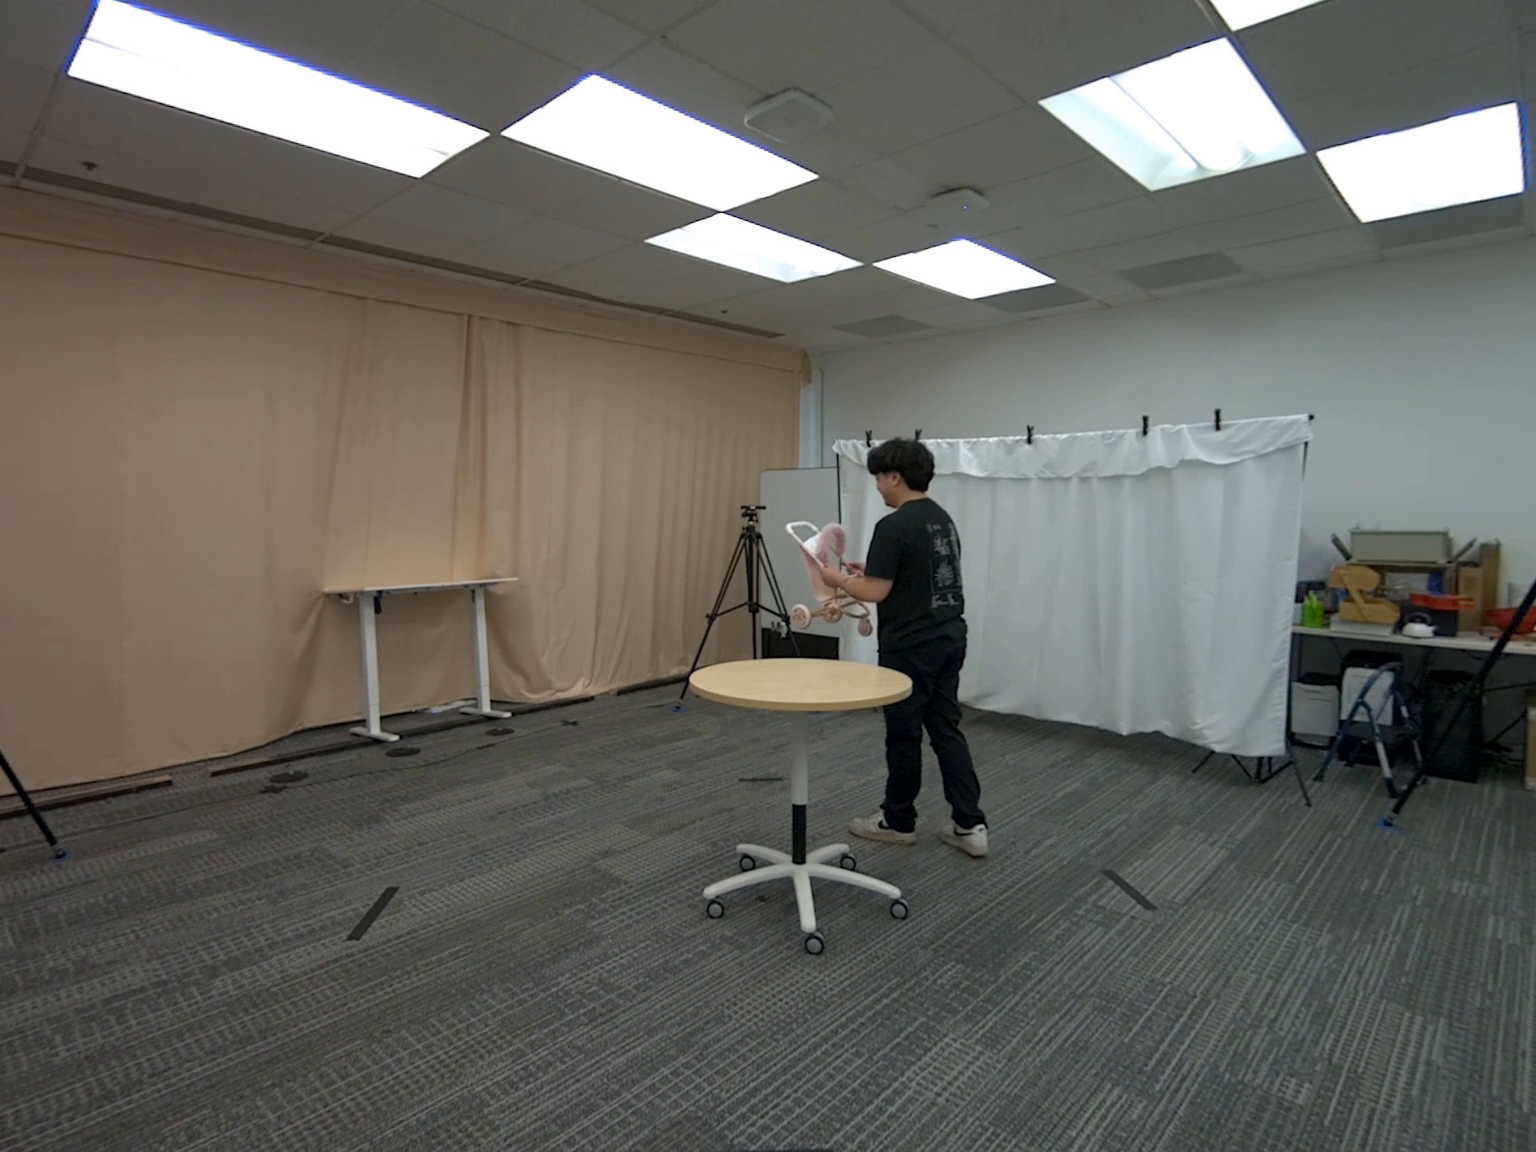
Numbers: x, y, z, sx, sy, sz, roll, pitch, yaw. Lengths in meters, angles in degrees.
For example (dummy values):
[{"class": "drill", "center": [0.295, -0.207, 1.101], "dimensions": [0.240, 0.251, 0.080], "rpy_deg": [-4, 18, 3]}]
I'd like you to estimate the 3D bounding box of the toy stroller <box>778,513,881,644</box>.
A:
[{"class": "toy stroller", "center": [0.291, 0.010, 3.719], "dimensions": [0.351, 0.536, 0.273], "rpy_deg": [-8, -3, 44]}]
